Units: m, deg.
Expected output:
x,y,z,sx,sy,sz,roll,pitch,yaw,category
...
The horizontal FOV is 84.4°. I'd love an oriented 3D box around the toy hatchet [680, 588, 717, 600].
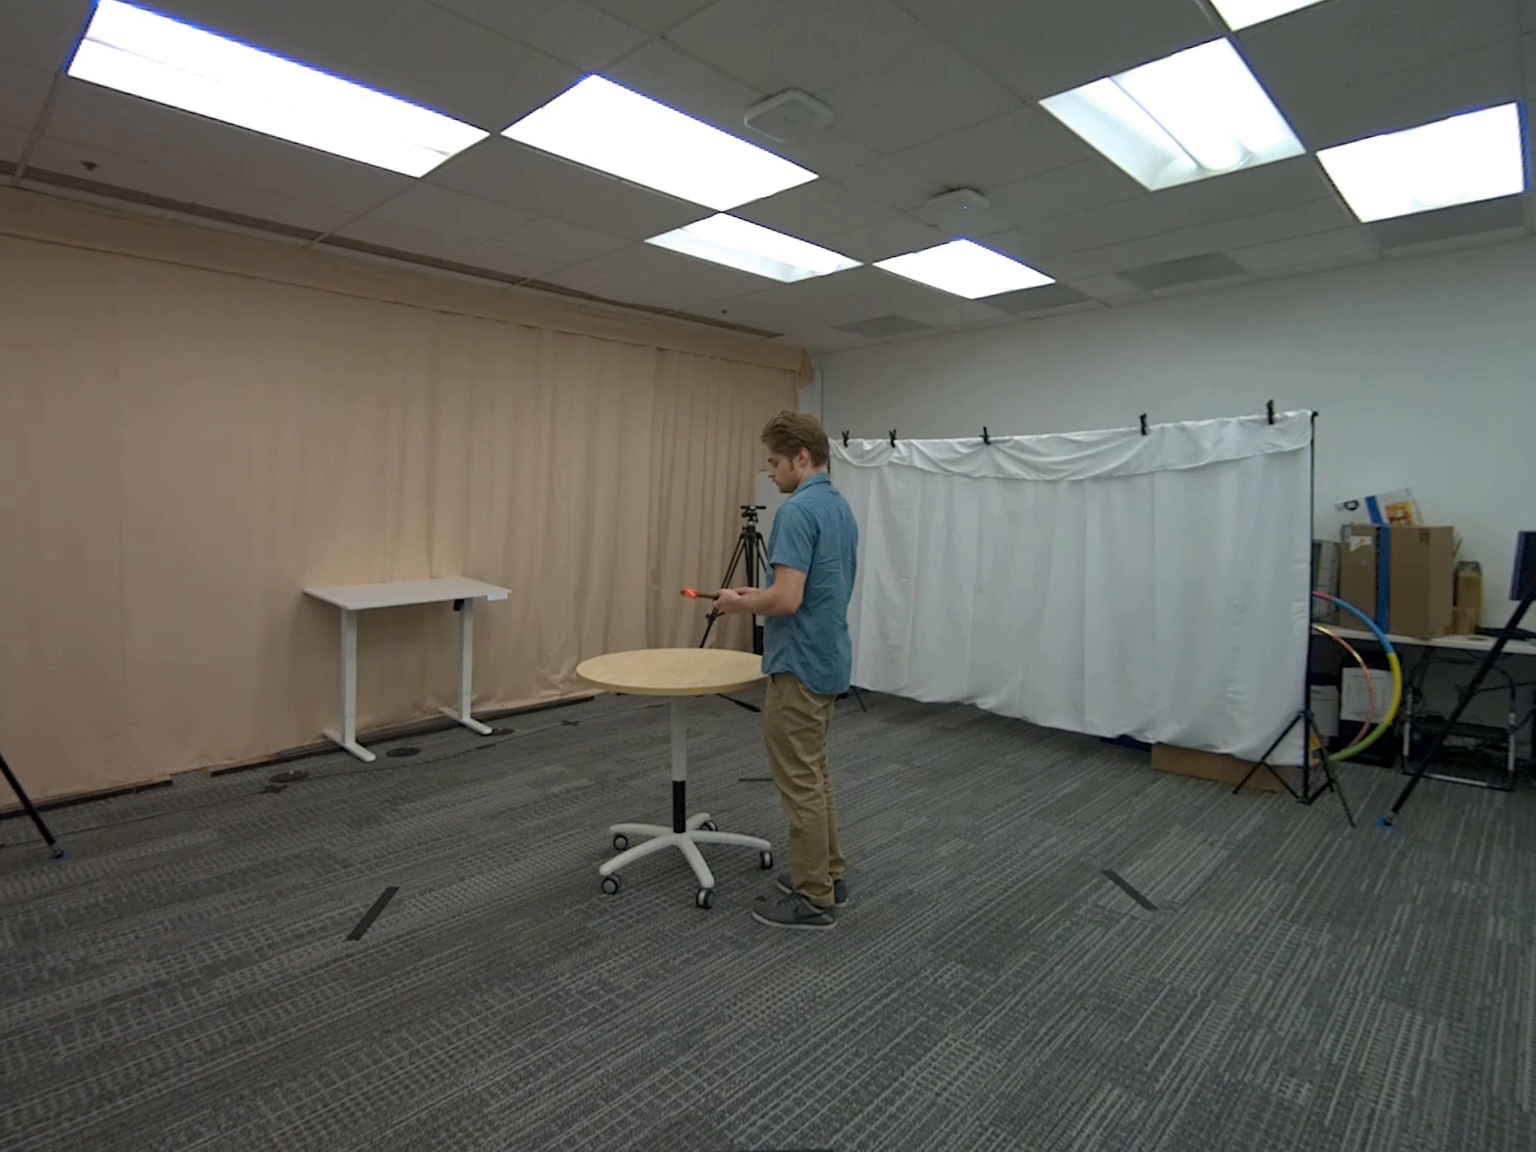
x,y,z,sx,sy,sz,roll,pitch,yaw,category
-0.179,0.075,2.944,0.261,0.029,0.135,9,-2,-38,toy hatchet
